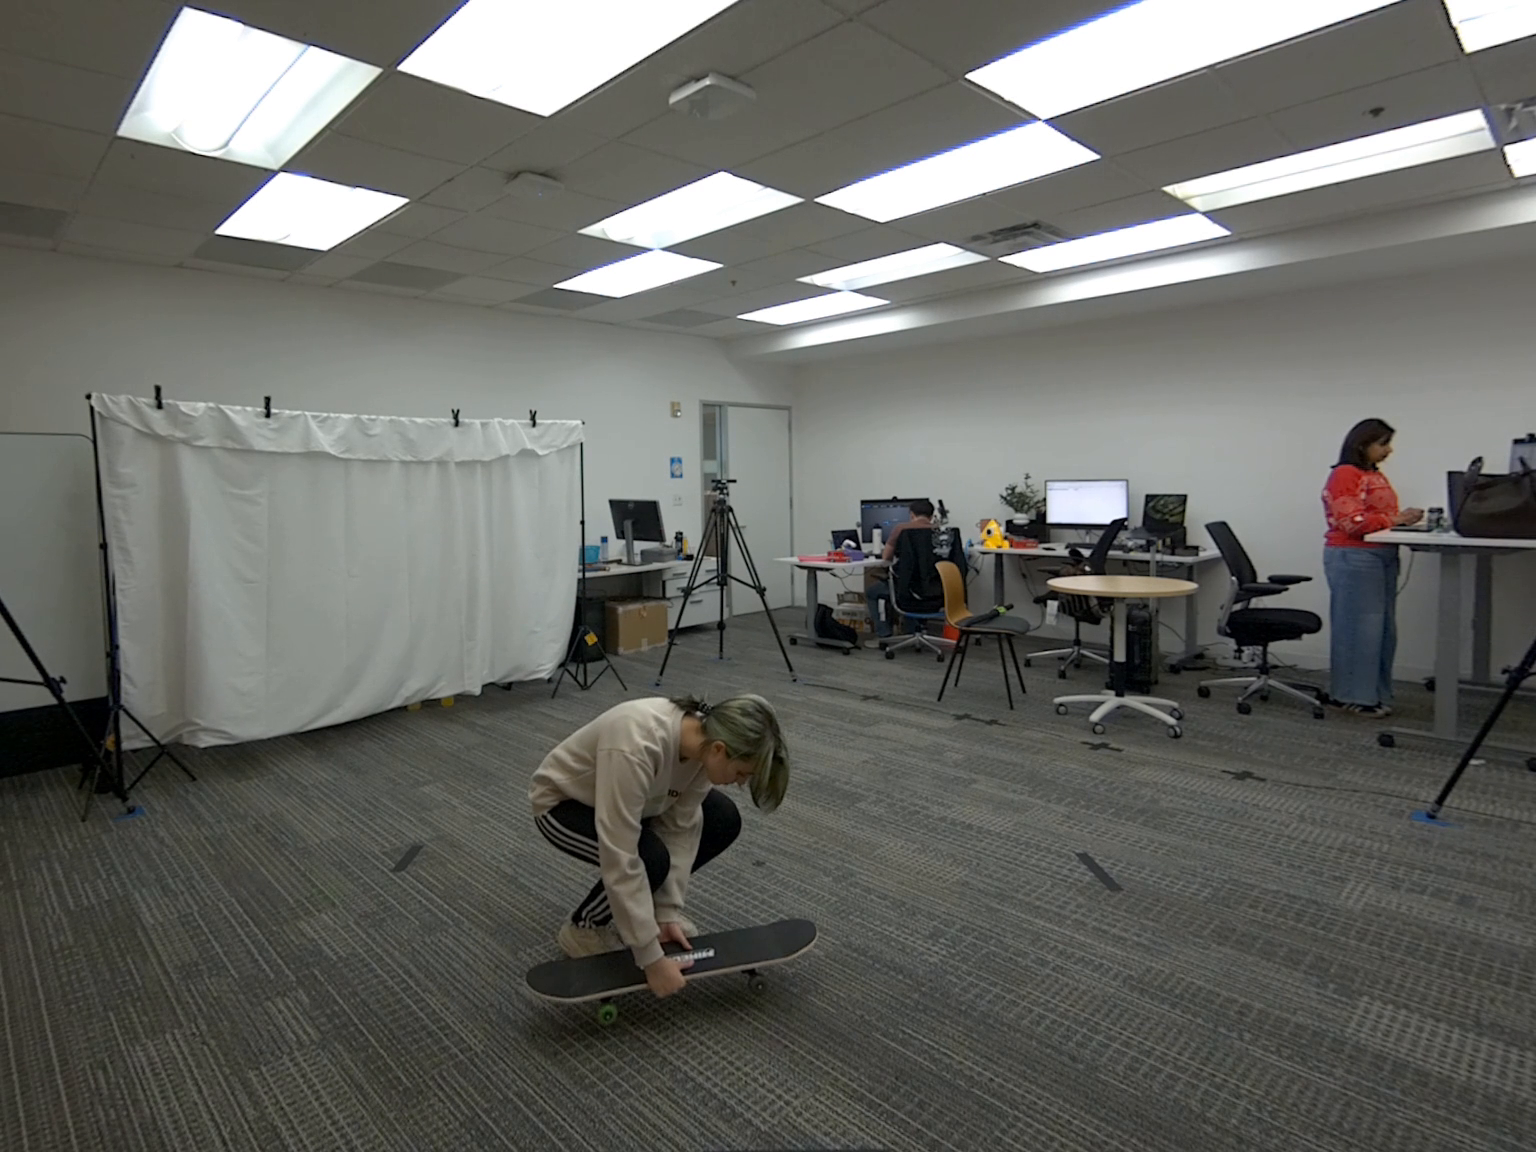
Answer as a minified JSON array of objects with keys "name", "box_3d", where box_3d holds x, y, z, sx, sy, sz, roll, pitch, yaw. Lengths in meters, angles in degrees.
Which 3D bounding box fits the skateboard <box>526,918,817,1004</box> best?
[{"name":"skateboard","box_3d":[-0.233,1.042,2.266,0.776,0.110,0.196,-4,5,-14]}]
